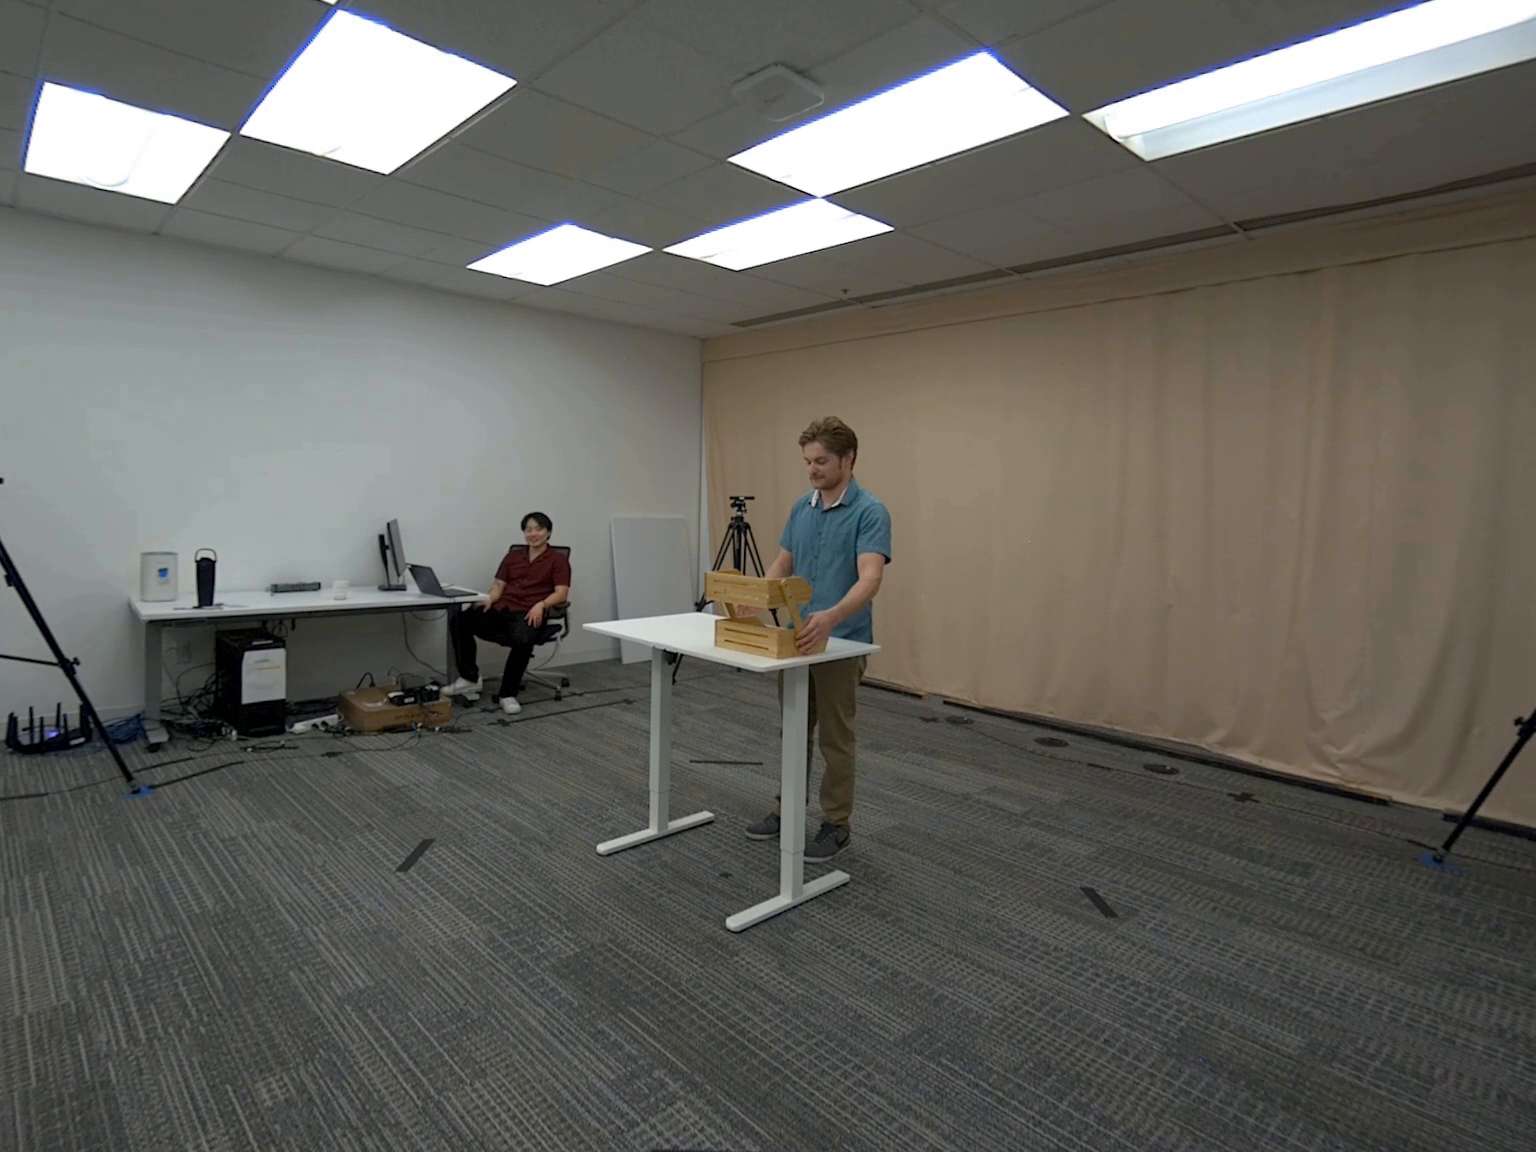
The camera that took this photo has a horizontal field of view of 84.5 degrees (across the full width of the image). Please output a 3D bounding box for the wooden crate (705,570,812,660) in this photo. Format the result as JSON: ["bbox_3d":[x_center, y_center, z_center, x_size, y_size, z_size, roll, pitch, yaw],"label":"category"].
[{"bbox_3d":[-0.013,0.117,2.842,0.333,0.272,0.295,5,7,43],"label":"wooden crate"}]
